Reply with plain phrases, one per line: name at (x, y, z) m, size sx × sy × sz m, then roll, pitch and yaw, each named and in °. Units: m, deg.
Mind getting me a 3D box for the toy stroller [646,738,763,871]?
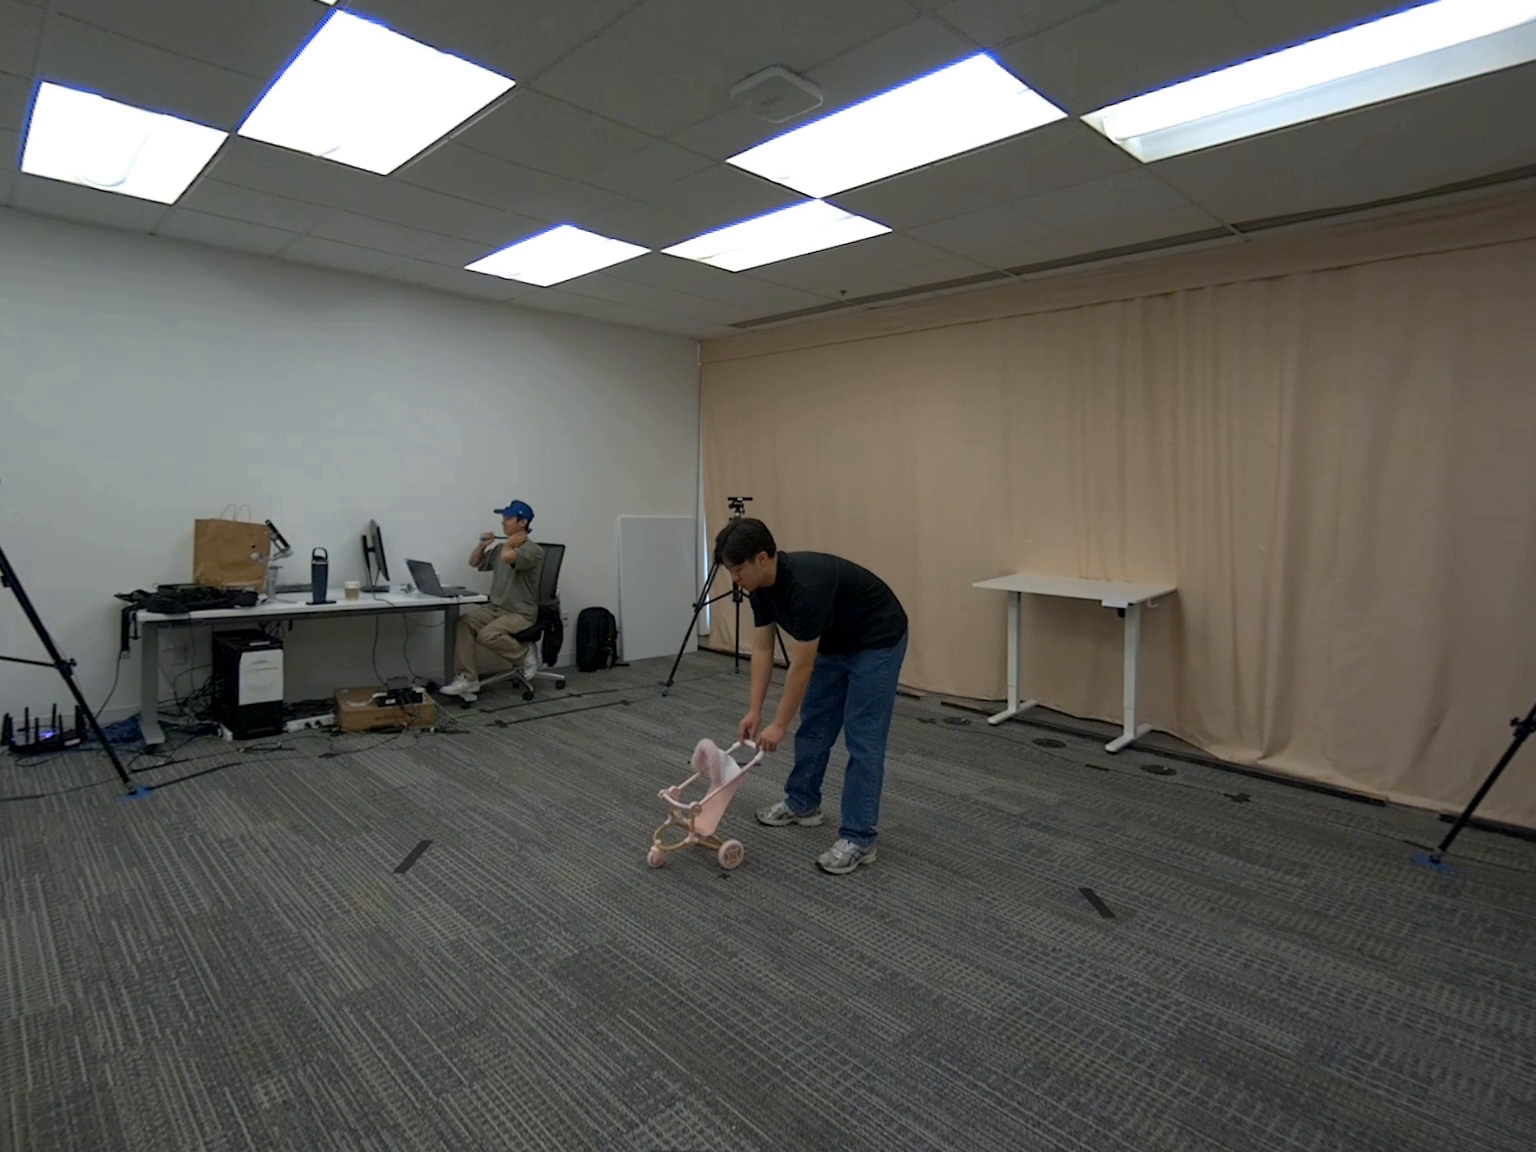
toy stroller at (-0.258, 0.869, 3.236) m, size 0.334 × 0.536 × 0.287 m, roll 18°, pitch -3°, yaw -24°
